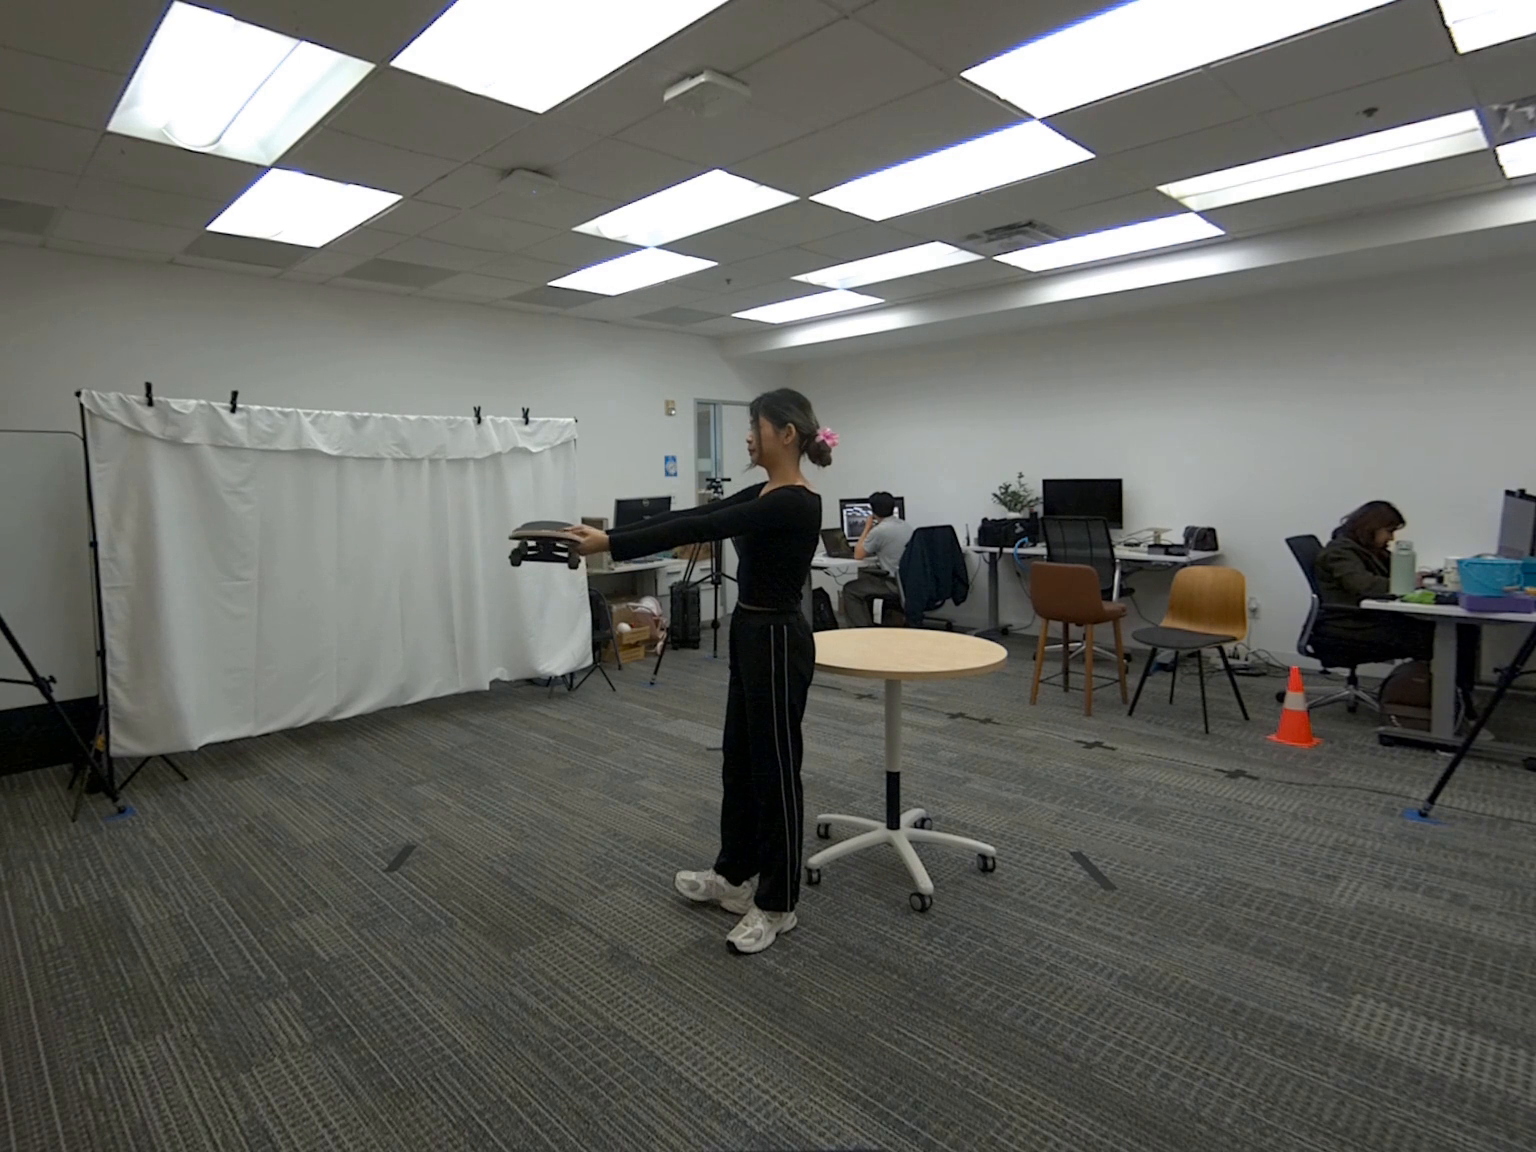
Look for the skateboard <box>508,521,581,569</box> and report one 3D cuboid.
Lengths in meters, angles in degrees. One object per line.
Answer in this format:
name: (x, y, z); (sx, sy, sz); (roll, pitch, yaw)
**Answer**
skateboard: (-0.638, -0.094, 2.504); (0.191, 0.110, 0.797); (2, 5, -13)
